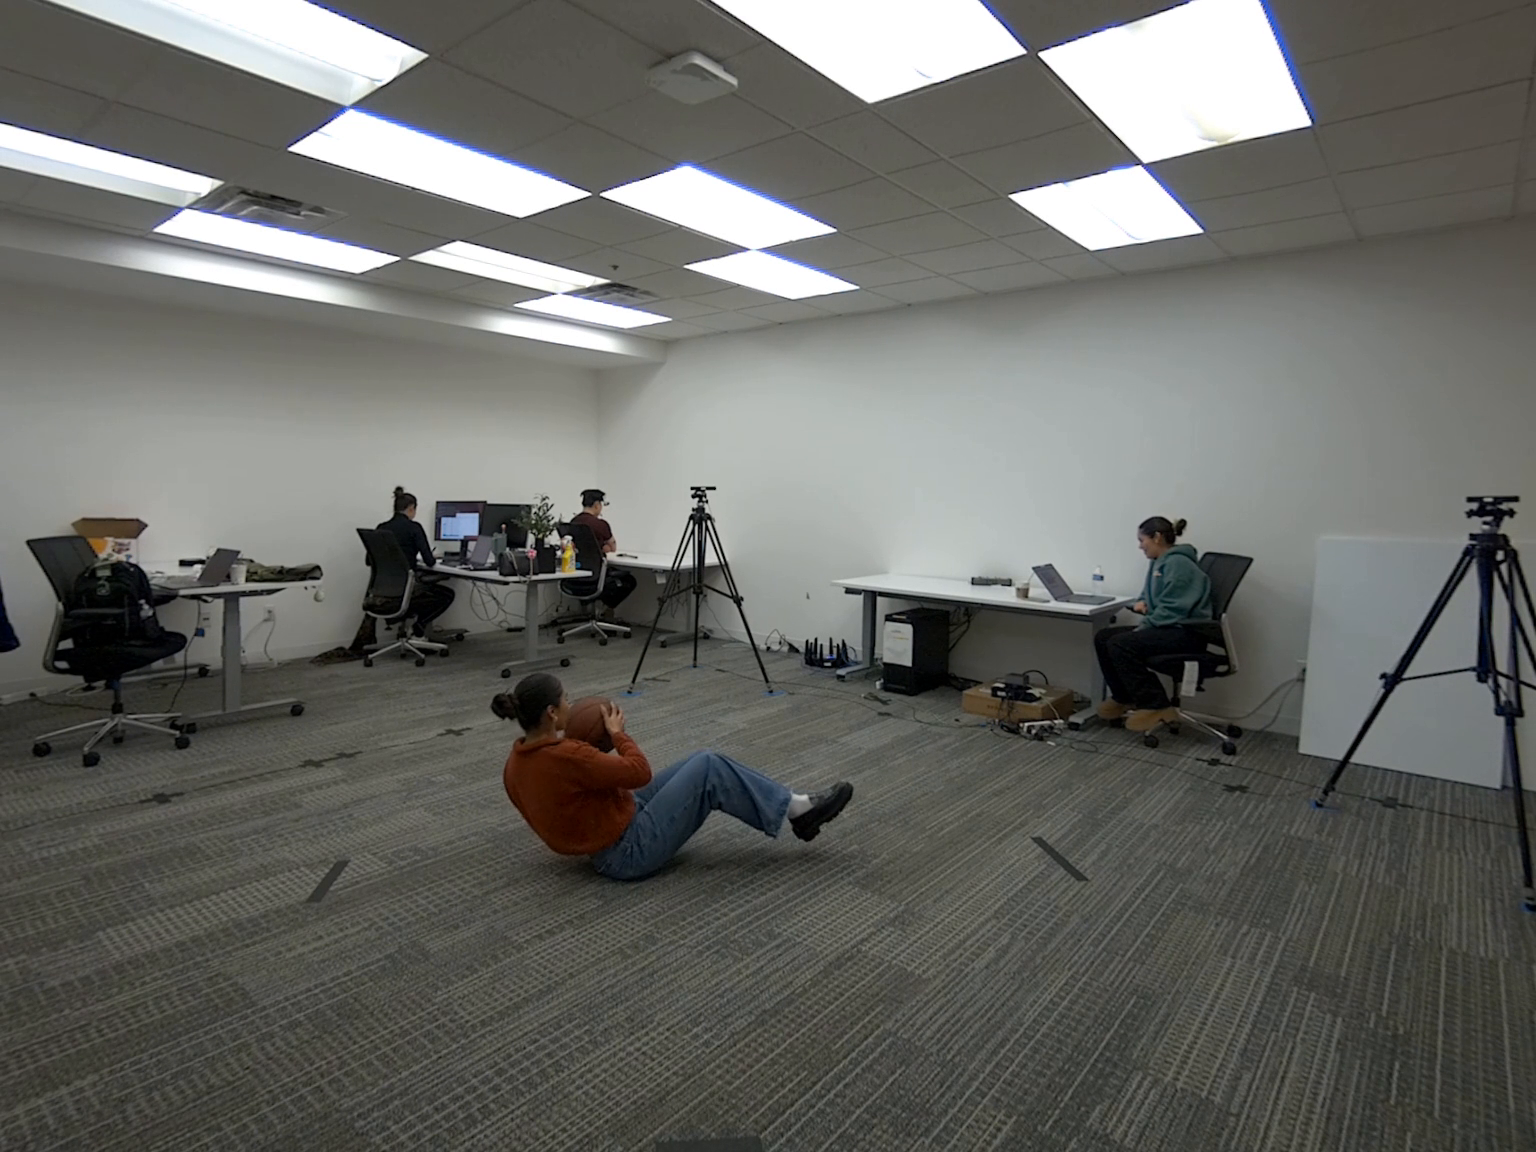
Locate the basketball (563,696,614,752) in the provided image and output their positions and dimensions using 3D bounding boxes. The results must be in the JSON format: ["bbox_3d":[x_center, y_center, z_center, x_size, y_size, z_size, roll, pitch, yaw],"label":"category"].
[{"bbox_3d":[-0.695,0.605,3.340,0.235,0.235,0.237,1,4,-2],"label":"basketball"}]
